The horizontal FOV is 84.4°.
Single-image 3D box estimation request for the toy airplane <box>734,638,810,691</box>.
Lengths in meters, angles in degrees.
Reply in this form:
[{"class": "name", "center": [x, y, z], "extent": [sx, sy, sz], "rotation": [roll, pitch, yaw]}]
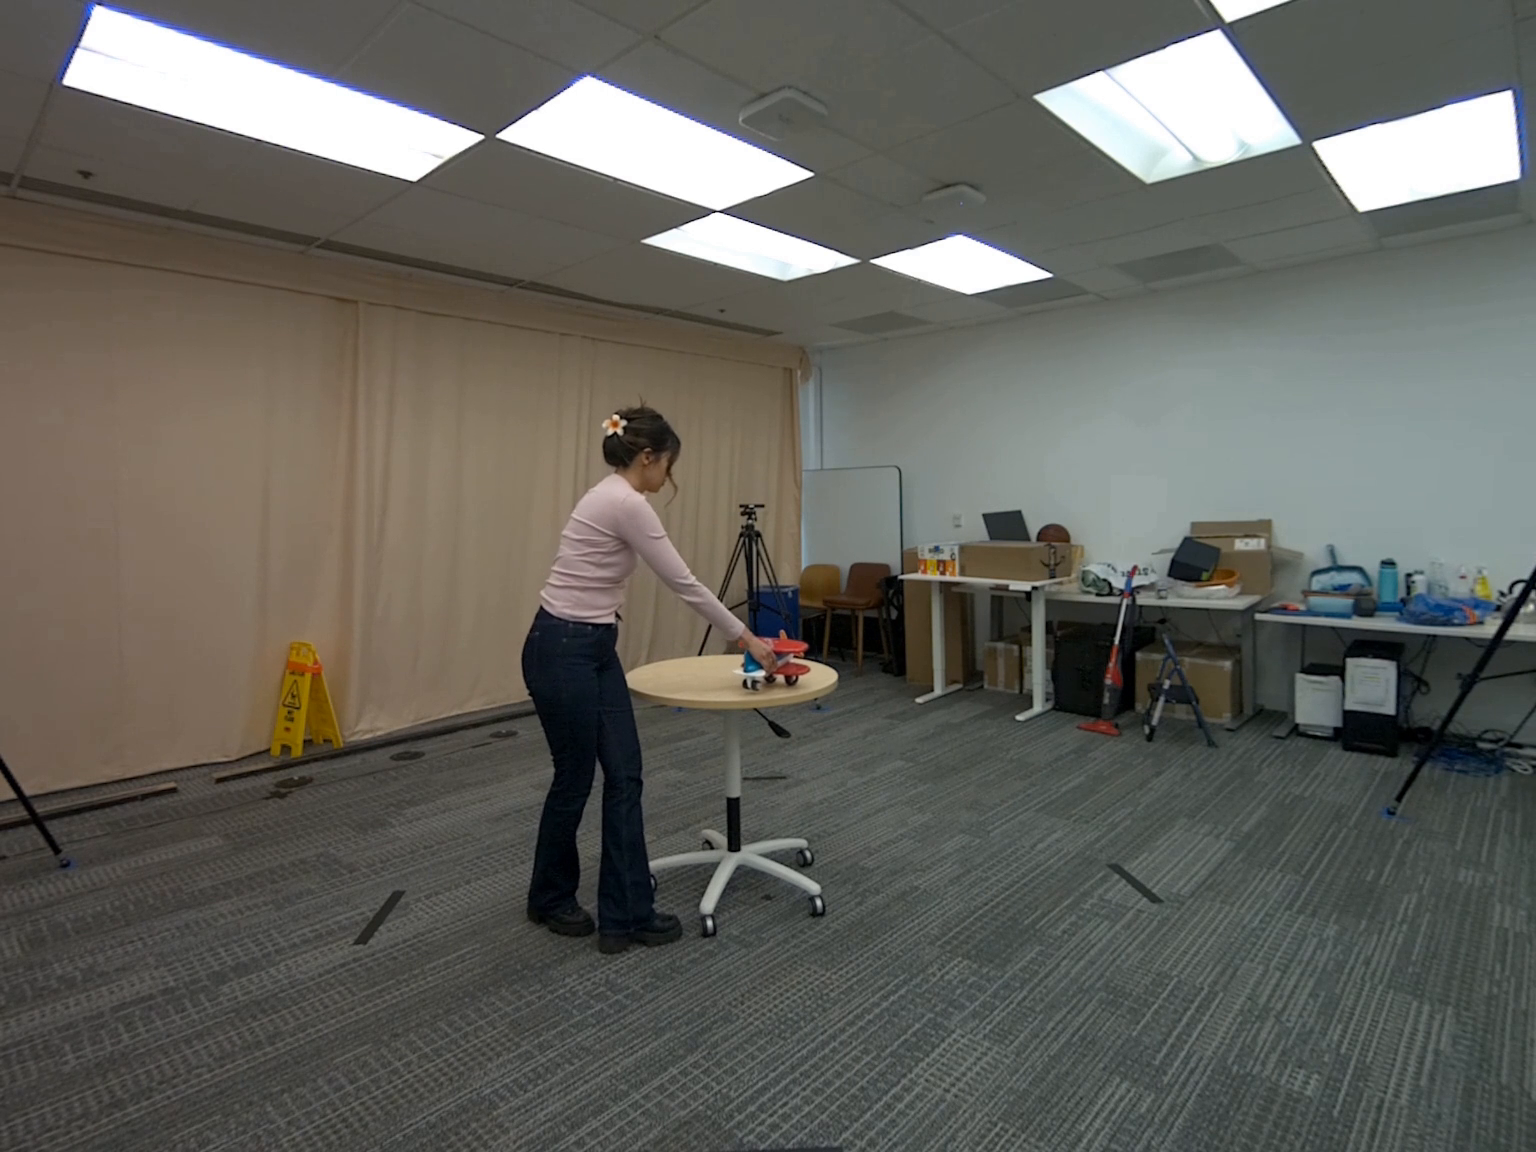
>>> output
[{"class": "toy airplane", "center": [0.013, 0.291, 2.791], "extent": [0.253, 0.156, 0.257], "rotation": [1, 1, 8]}]
